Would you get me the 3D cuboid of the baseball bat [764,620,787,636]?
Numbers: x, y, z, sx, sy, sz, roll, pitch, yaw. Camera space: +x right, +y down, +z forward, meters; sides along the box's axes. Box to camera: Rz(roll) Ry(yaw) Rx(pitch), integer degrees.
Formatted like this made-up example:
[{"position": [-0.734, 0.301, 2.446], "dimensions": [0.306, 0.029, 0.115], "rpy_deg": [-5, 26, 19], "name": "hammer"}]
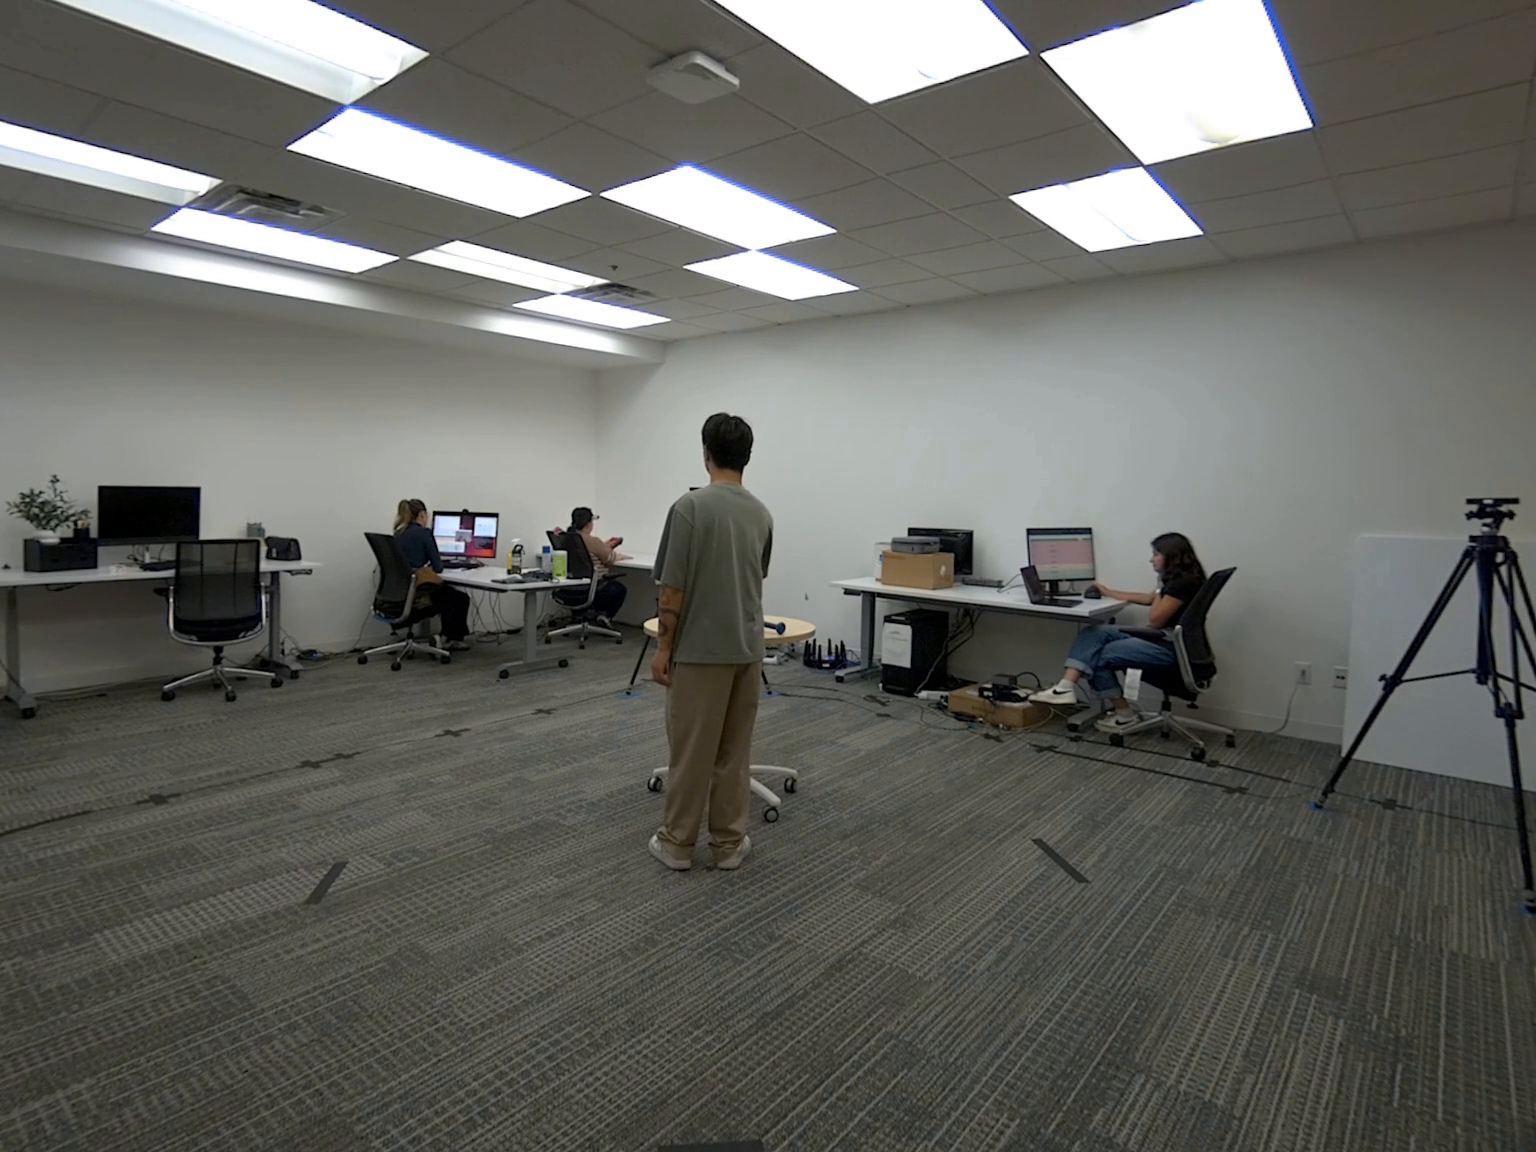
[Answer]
[{"position": [-0.153, 0.182, 3.728], "dimensions": [0.562, 0.088, 0.086], "rpy_deg": [8, 8, 41], "name": "baseball bat"}]
